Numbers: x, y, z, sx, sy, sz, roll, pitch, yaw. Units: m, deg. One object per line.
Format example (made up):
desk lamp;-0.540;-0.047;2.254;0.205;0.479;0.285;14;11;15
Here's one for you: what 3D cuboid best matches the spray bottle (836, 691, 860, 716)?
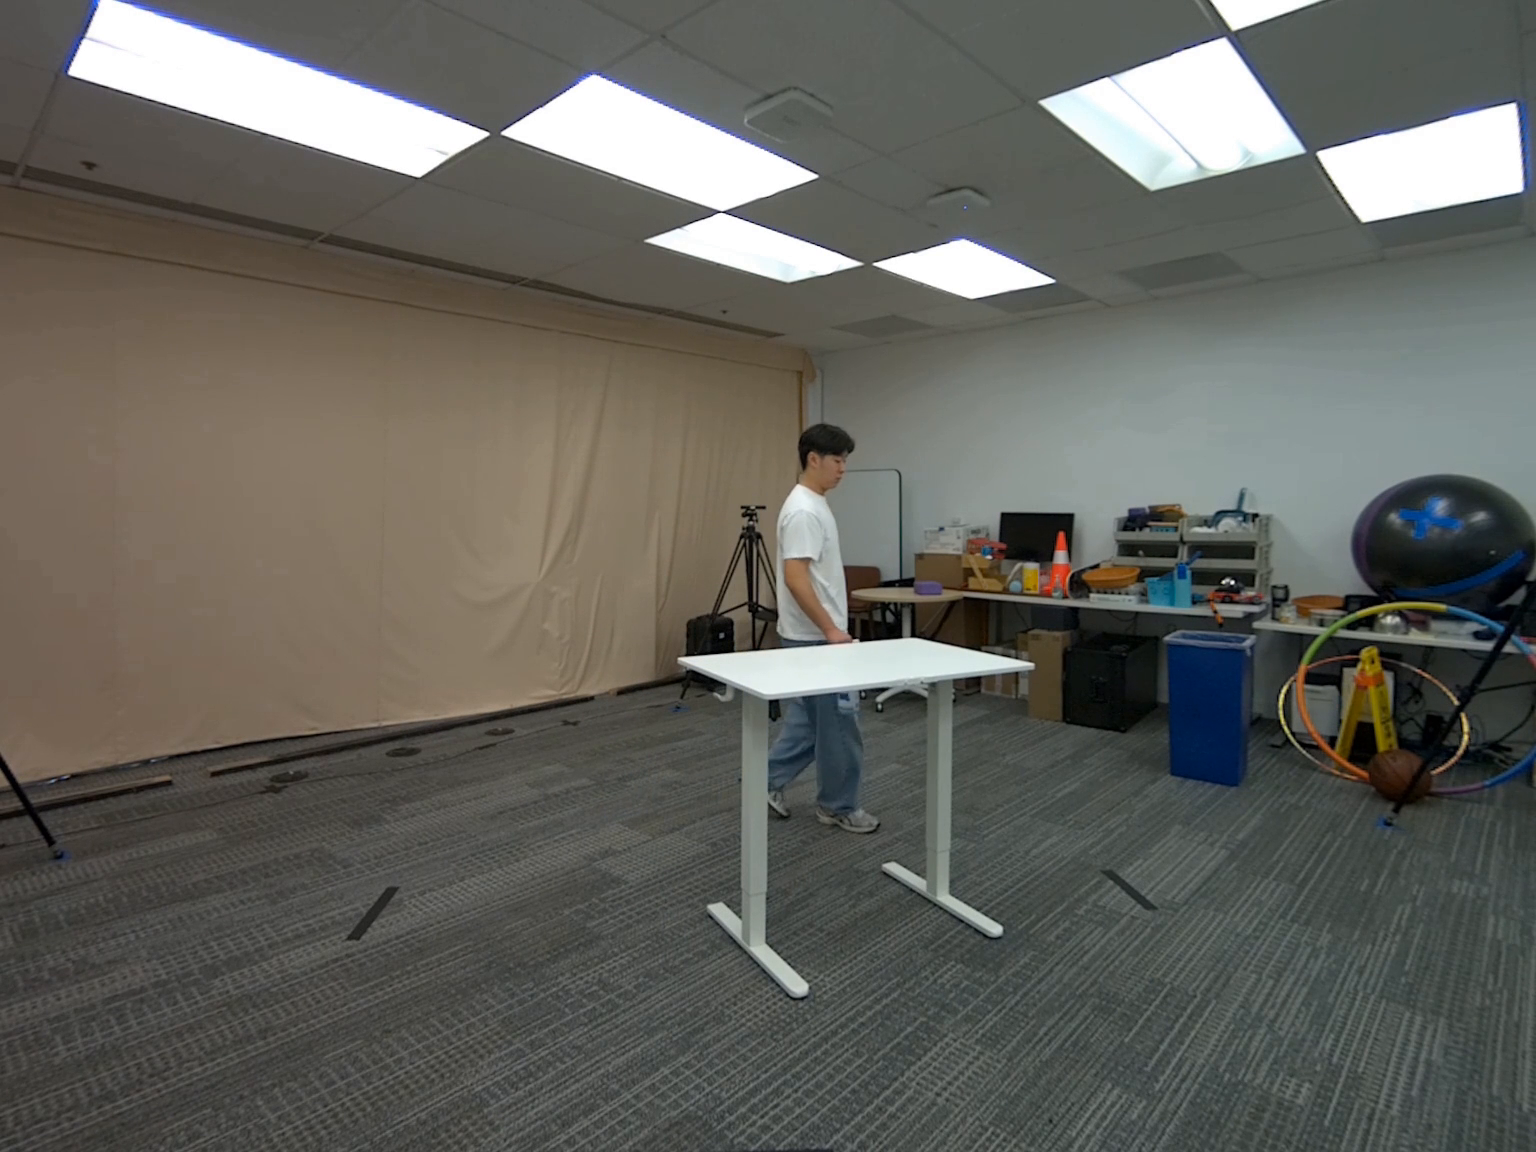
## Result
spray bottle;0.330;0.391;3.398;0.091;0.295;0.086;0;10;13
